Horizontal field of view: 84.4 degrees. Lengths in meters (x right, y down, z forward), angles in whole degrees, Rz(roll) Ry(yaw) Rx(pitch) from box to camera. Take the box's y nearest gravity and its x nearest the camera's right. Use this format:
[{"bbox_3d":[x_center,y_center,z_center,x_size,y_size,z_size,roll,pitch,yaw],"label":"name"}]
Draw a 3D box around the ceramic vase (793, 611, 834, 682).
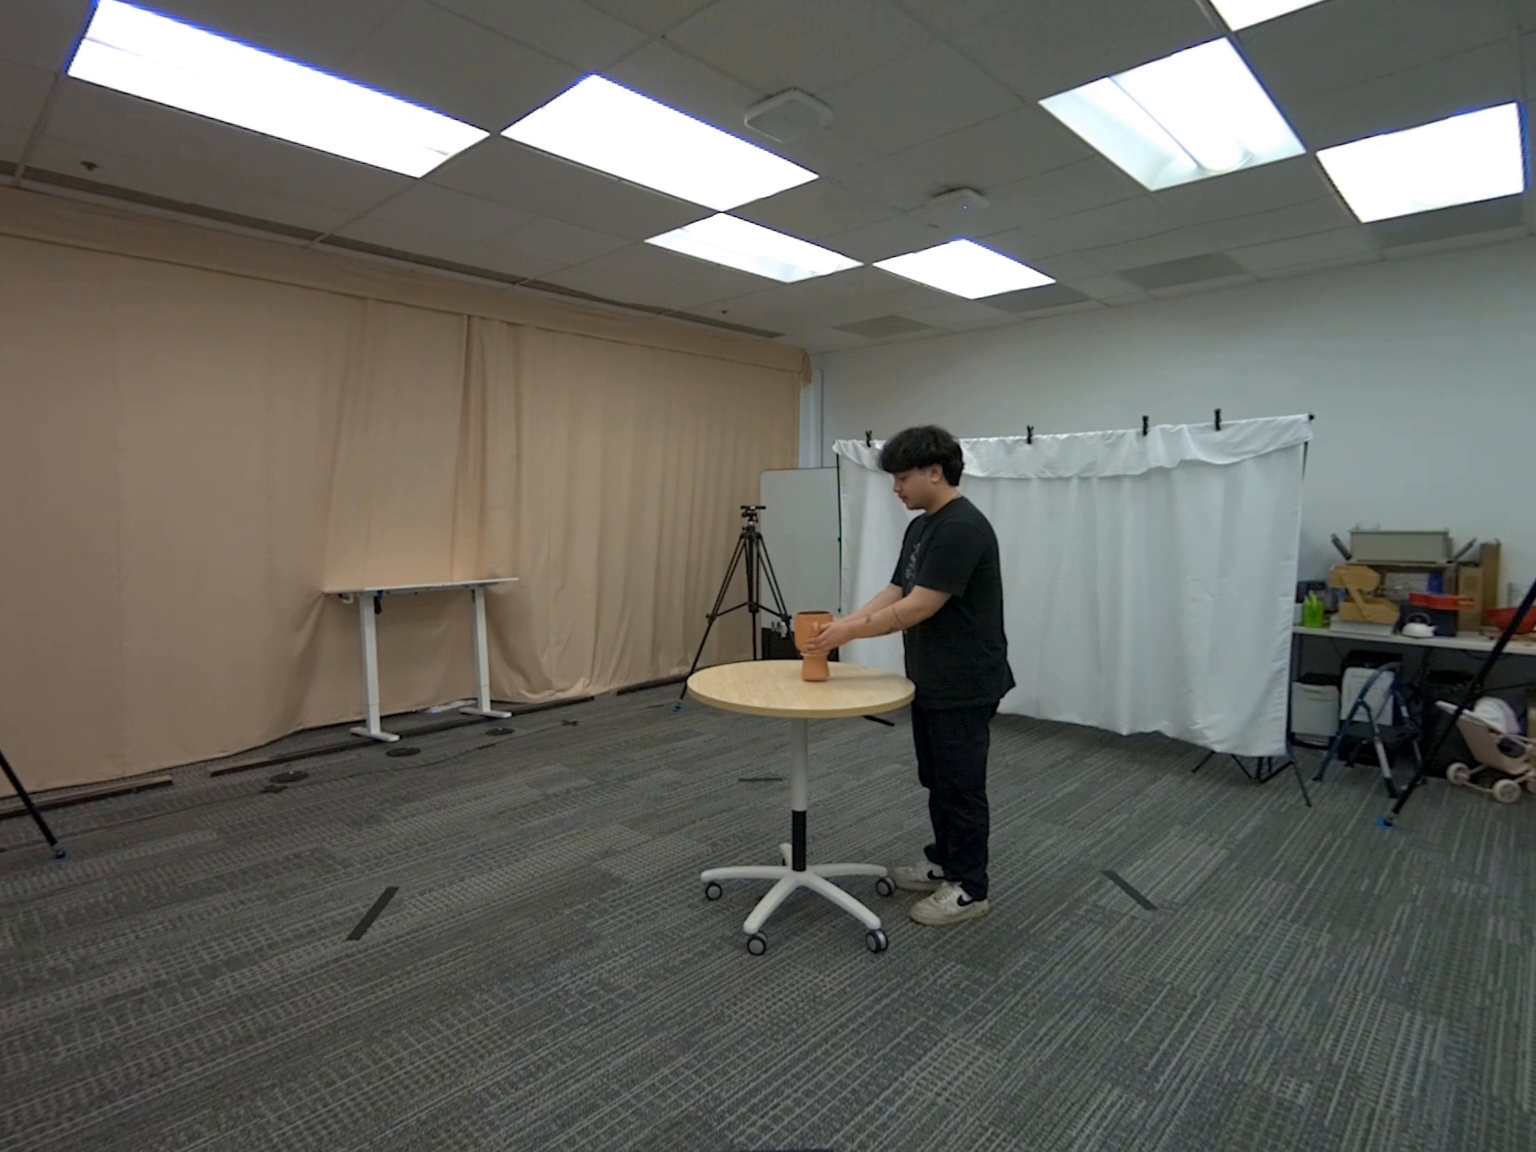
[{"bbox_3d":[0.171,0.240,2.883,0.139,0.219,0.154,2,5,40],"label":"ceramic vase"}]
